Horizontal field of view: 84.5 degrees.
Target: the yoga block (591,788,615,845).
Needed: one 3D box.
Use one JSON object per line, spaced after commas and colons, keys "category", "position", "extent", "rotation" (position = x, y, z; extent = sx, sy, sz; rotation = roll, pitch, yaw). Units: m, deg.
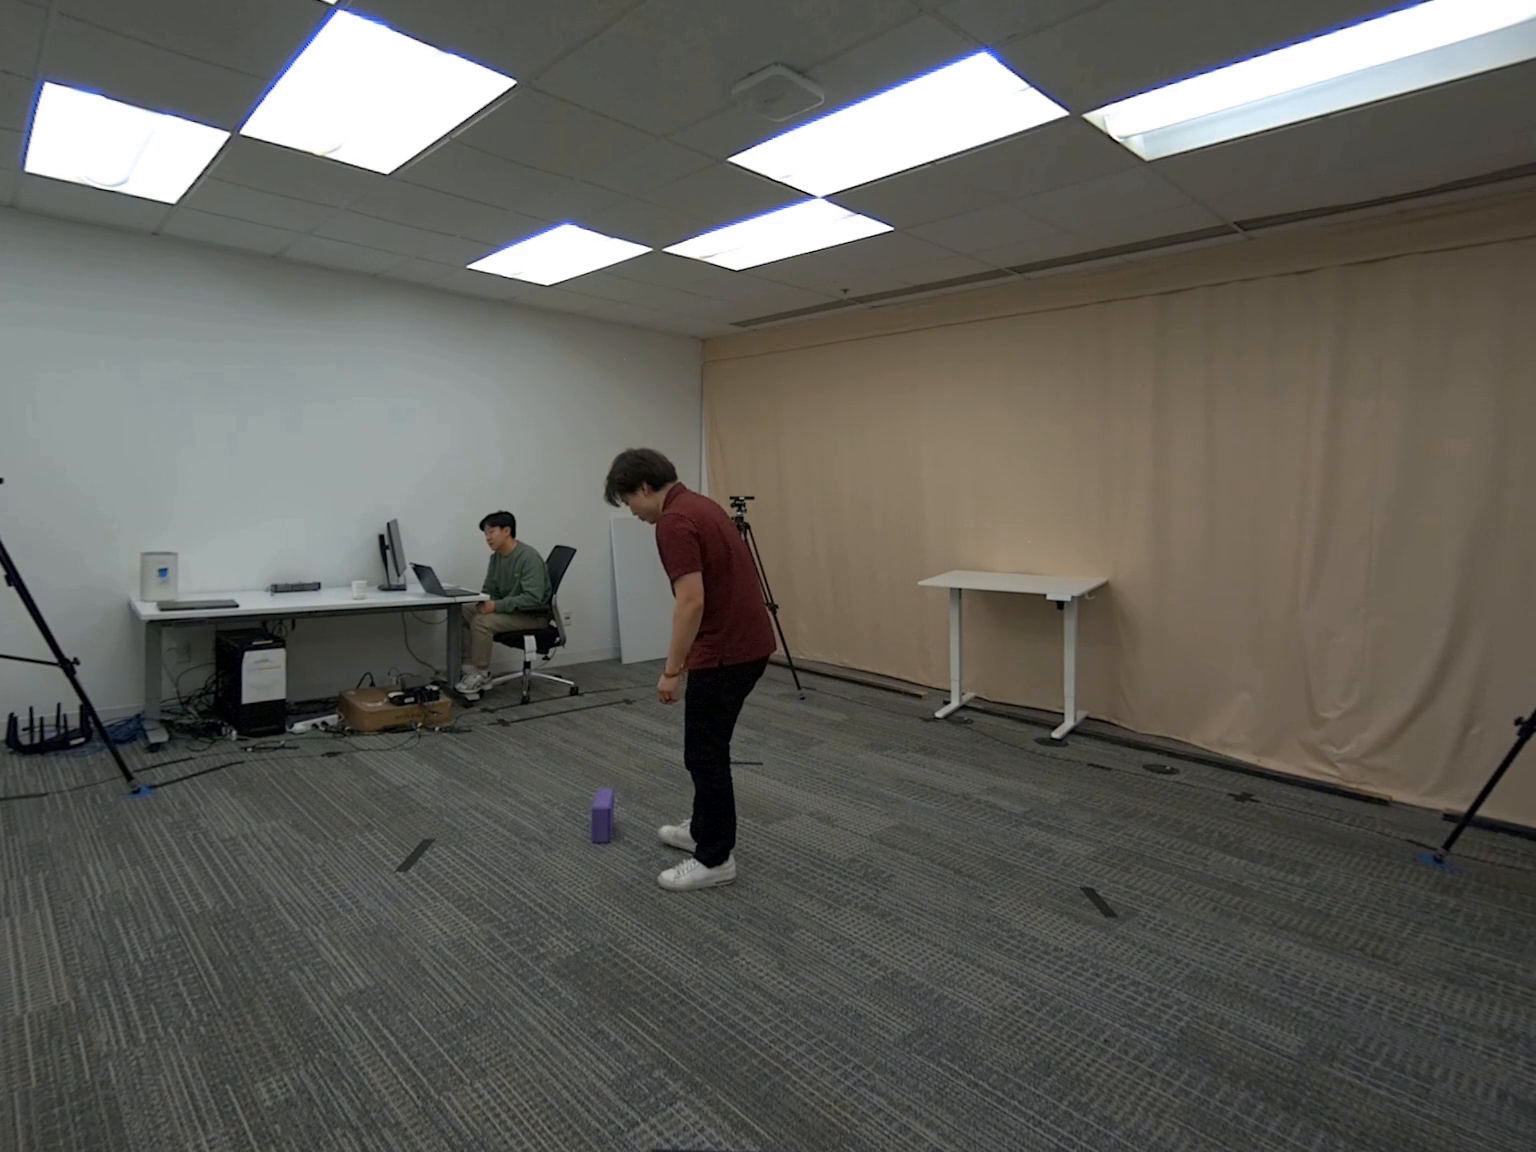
{"category": "yoga block", "position": [-0.689, 0.981, 3.476], "extent": [0.076, 0.148, 0.231], "rotation": [0, 5, -6]}
